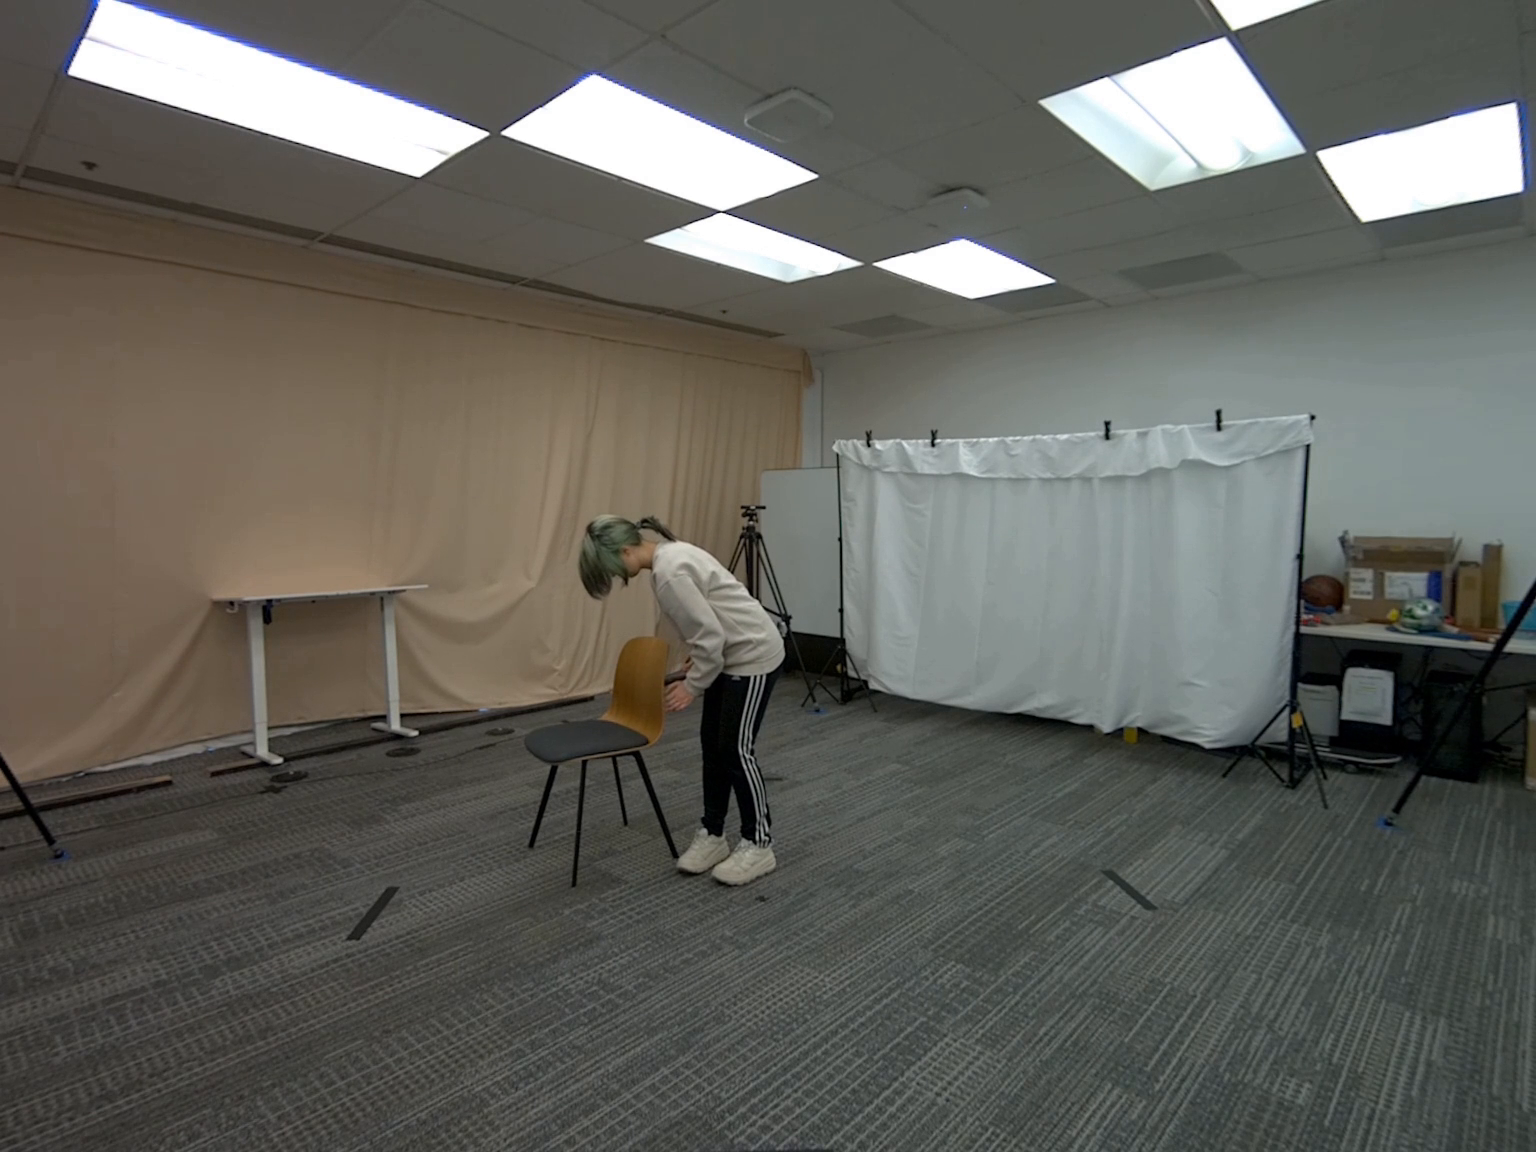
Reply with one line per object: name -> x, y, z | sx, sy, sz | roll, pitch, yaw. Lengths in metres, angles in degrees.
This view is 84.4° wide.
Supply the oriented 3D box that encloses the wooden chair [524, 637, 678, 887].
wooden chair -> -0.677, 0.692, 3.362 | 0.507, 0.877, 0.493 | 2, 1, -36
